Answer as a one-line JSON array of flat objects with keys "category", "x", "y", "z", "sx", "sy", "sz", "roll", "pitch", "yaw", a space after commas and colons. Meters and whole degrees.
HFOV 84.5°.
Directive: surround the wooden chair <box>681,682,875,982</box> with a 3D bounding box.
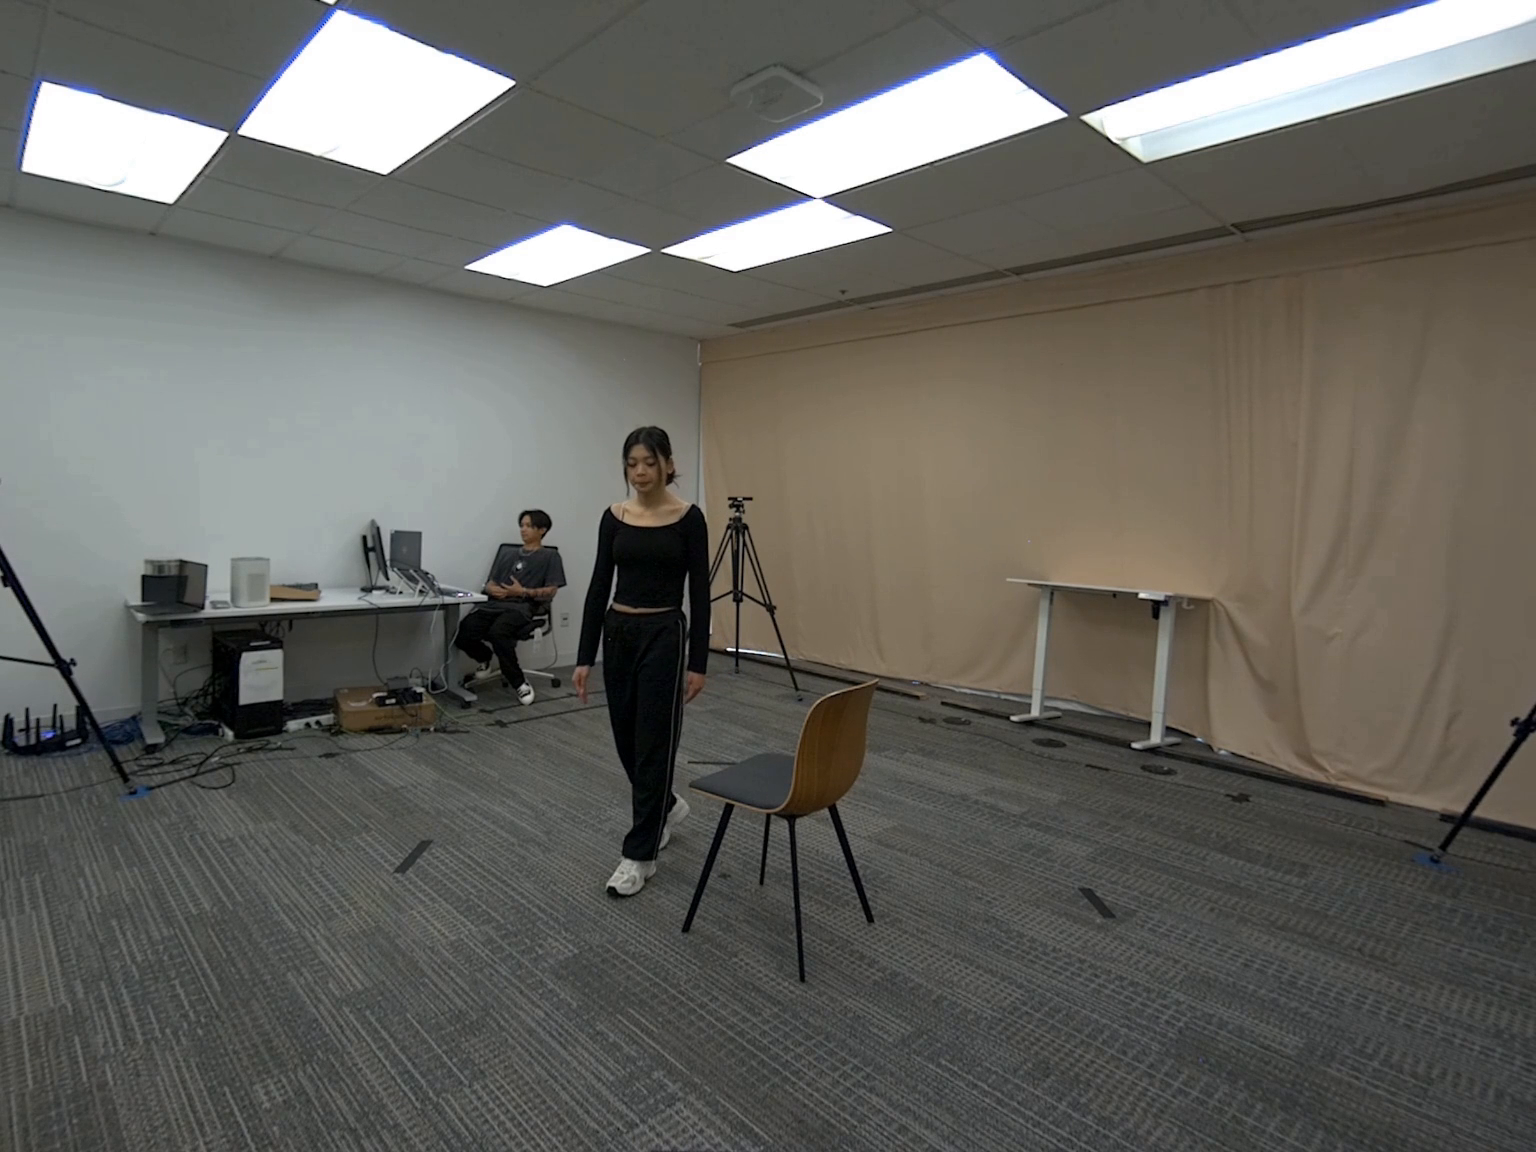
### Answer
[{"category": "wooden chair", "x": 0.038, "y": 0.721, "z": 2.714, "sx": 0.536, "sy": 0.874, "sz": 0.468, "roll": 9, "pitch": 8, "yaw": 35}]
